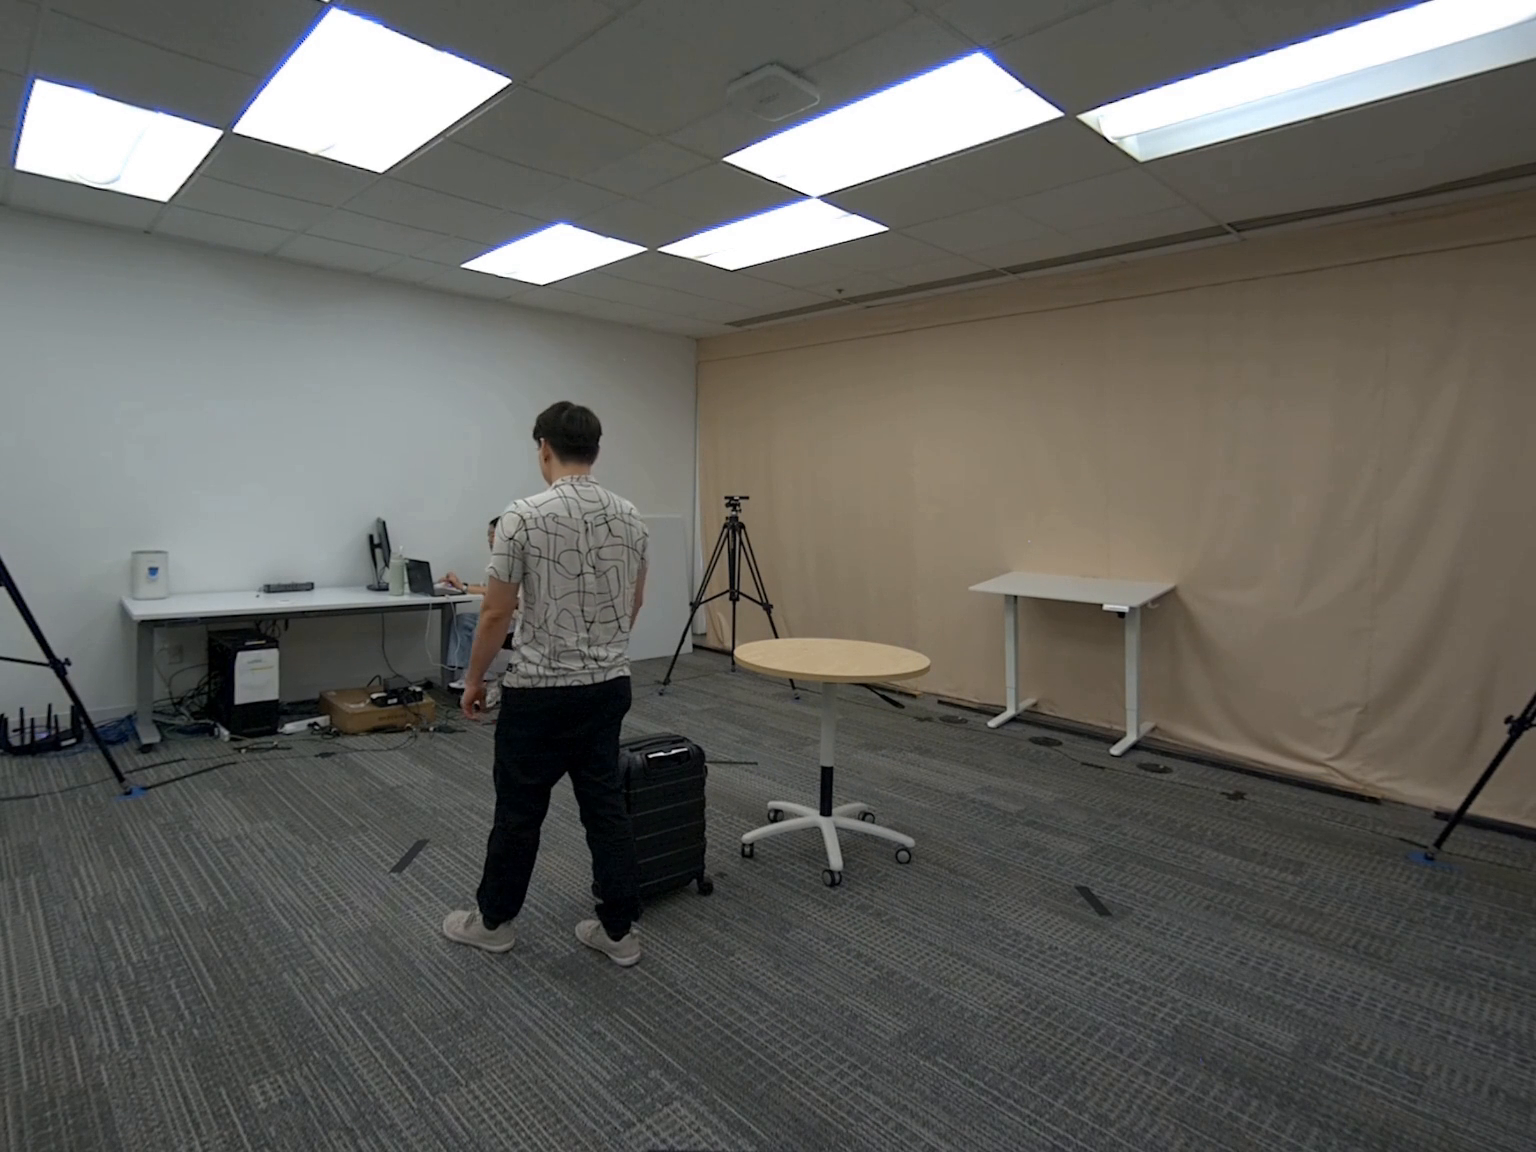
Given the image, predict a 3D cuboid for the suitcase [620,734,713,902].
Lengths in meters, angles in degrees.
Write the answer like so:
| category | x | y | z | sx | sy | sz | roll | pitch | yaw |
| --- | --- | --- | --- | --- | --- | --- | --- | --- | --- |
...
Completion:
| category | x | y | z | sx | sy | sz | roll | pitch | yaw |
| --- | --- | --- | --- | --- | --- | --- | --- | --- | --- |
| suitcase | -0.417 | 0.837 | 2.930 | 0.367 | 0.548 | 0.254 | -3 | 4 | -39 |
